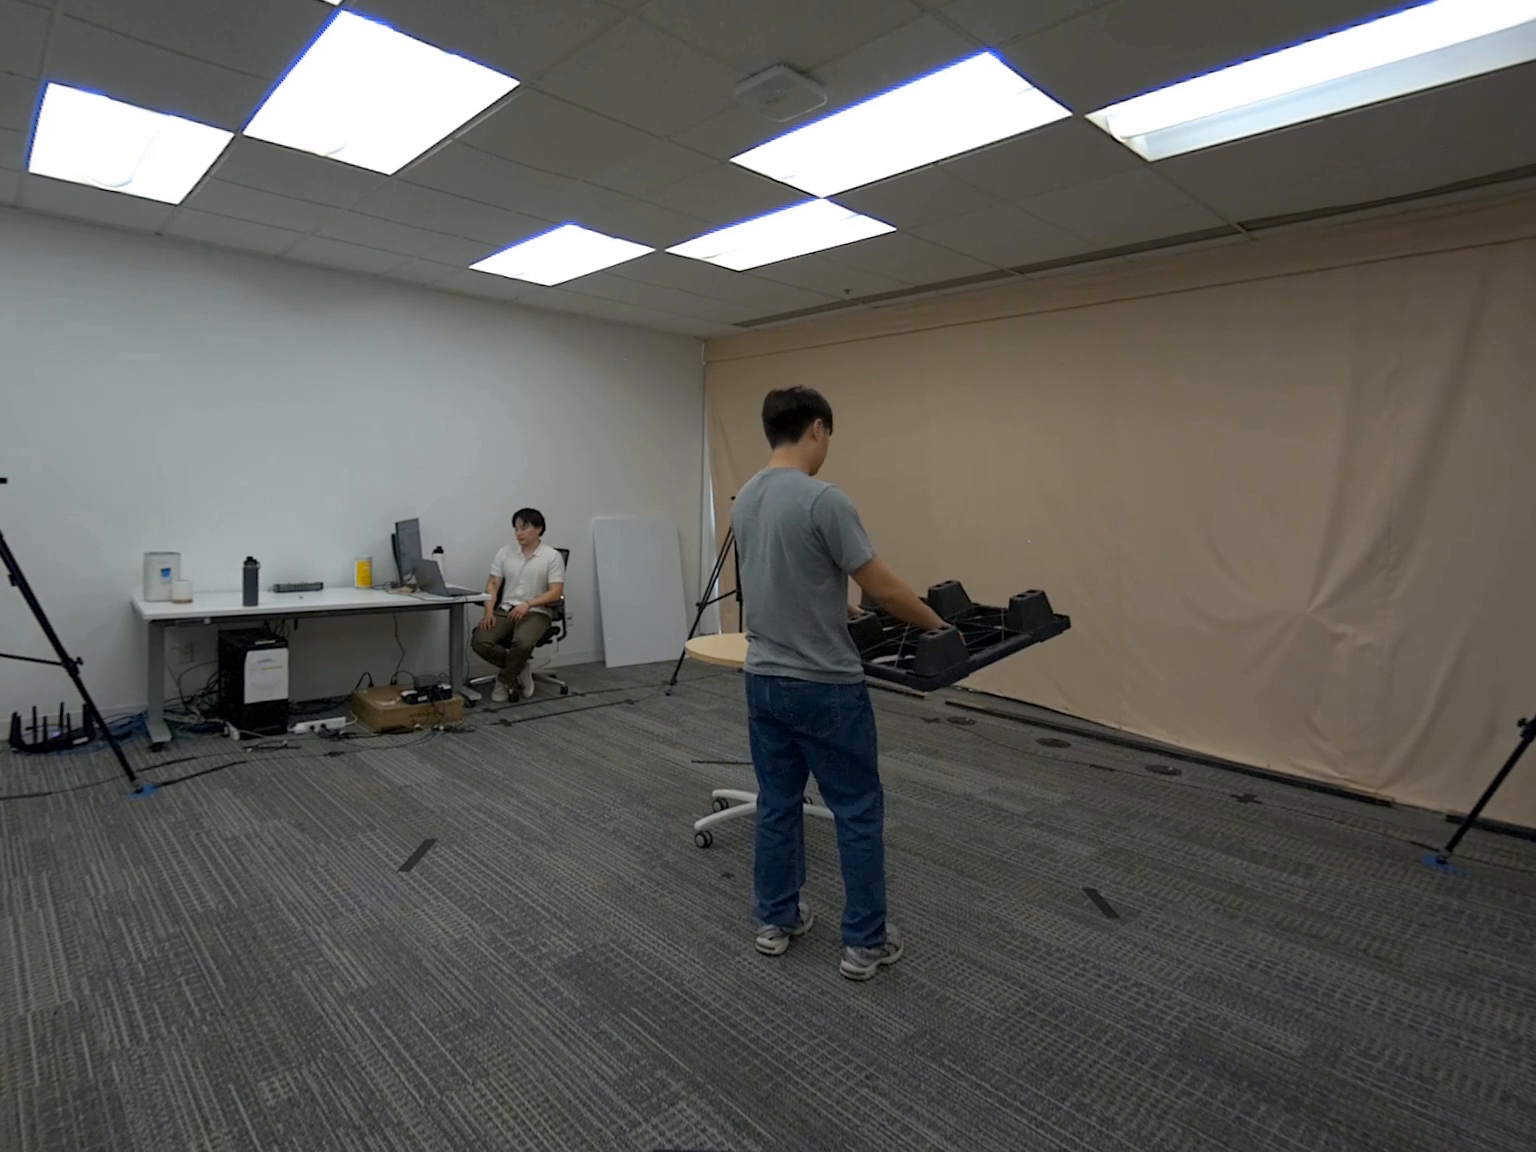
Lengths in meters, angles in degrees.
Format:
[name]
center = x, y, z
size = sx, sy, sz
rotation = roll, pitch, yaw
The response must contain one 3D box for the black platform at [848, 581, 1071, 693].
[black platform]
center = 0.426, 0.151, 2.722
size = 0.597, 0.142, 0.824
rotation = -18, 13, -30
